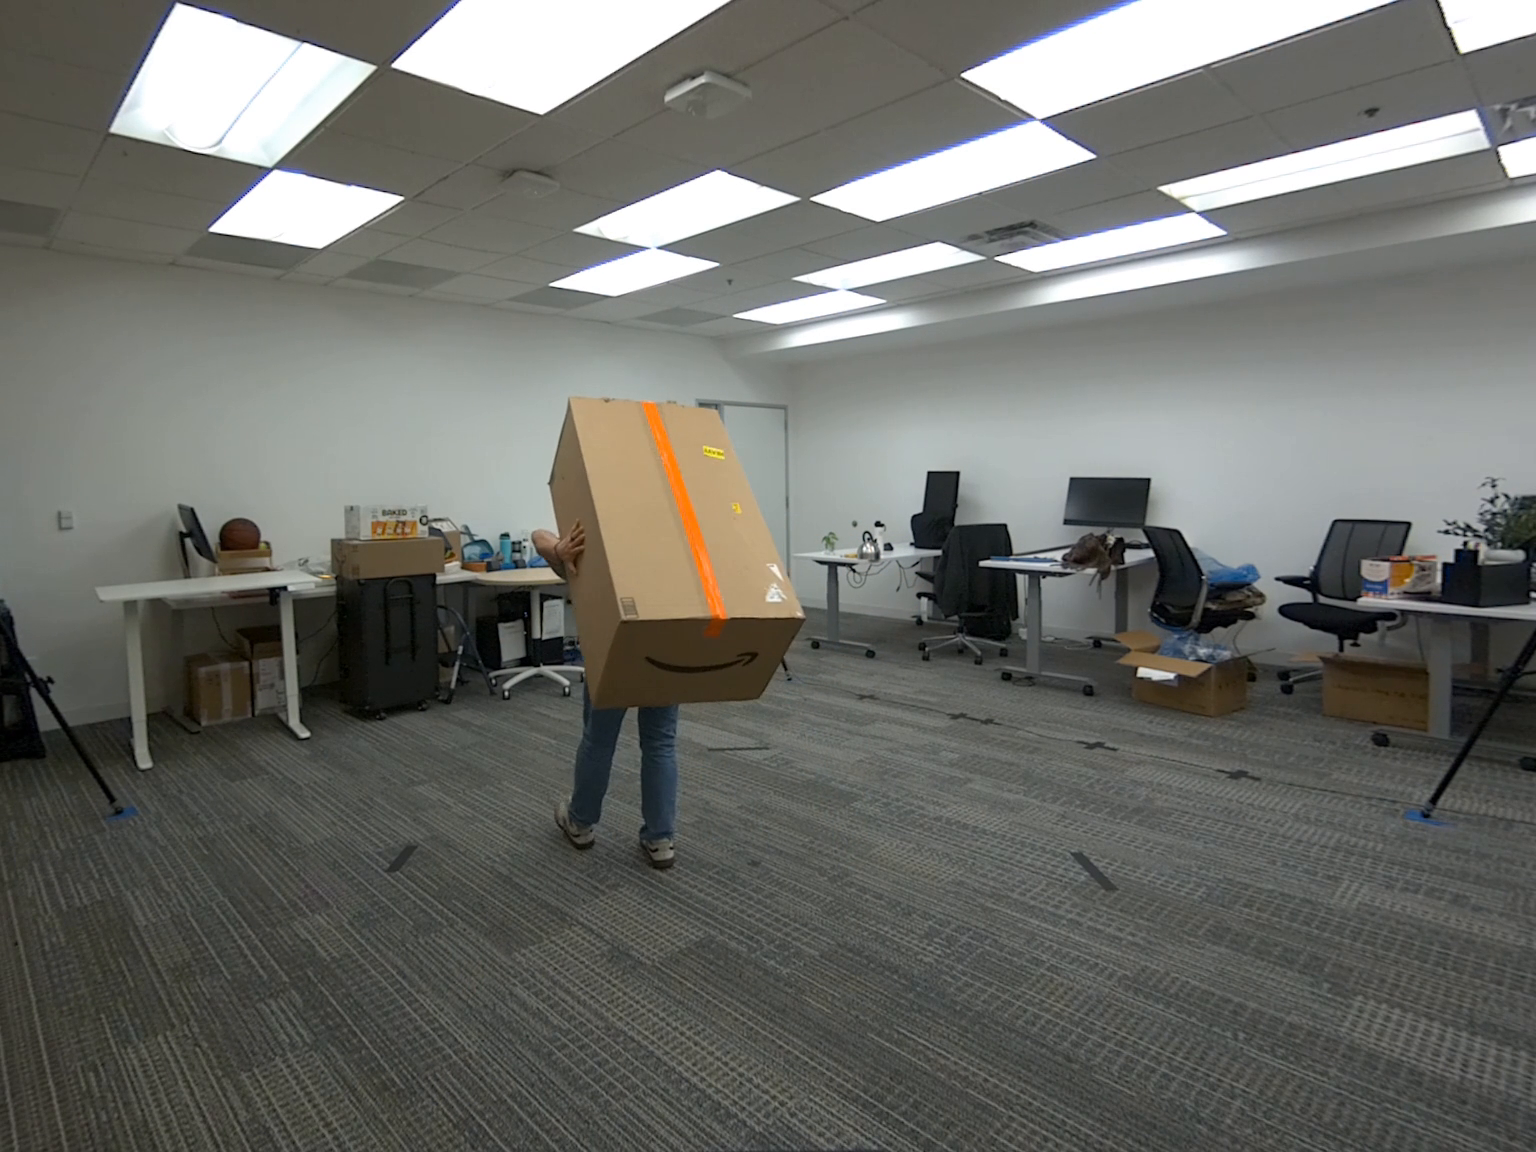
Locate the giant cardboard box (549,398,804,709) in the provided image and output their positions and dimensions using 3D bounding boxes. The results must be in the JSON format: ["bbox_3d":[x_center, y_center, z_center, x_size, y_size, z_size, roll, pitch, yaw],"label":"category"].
[{"bbox_3d":[-0.360,-0.109,2.914,0.565,0.421,1.062,0,46,-25],"label":"giant cardboard box"}]
